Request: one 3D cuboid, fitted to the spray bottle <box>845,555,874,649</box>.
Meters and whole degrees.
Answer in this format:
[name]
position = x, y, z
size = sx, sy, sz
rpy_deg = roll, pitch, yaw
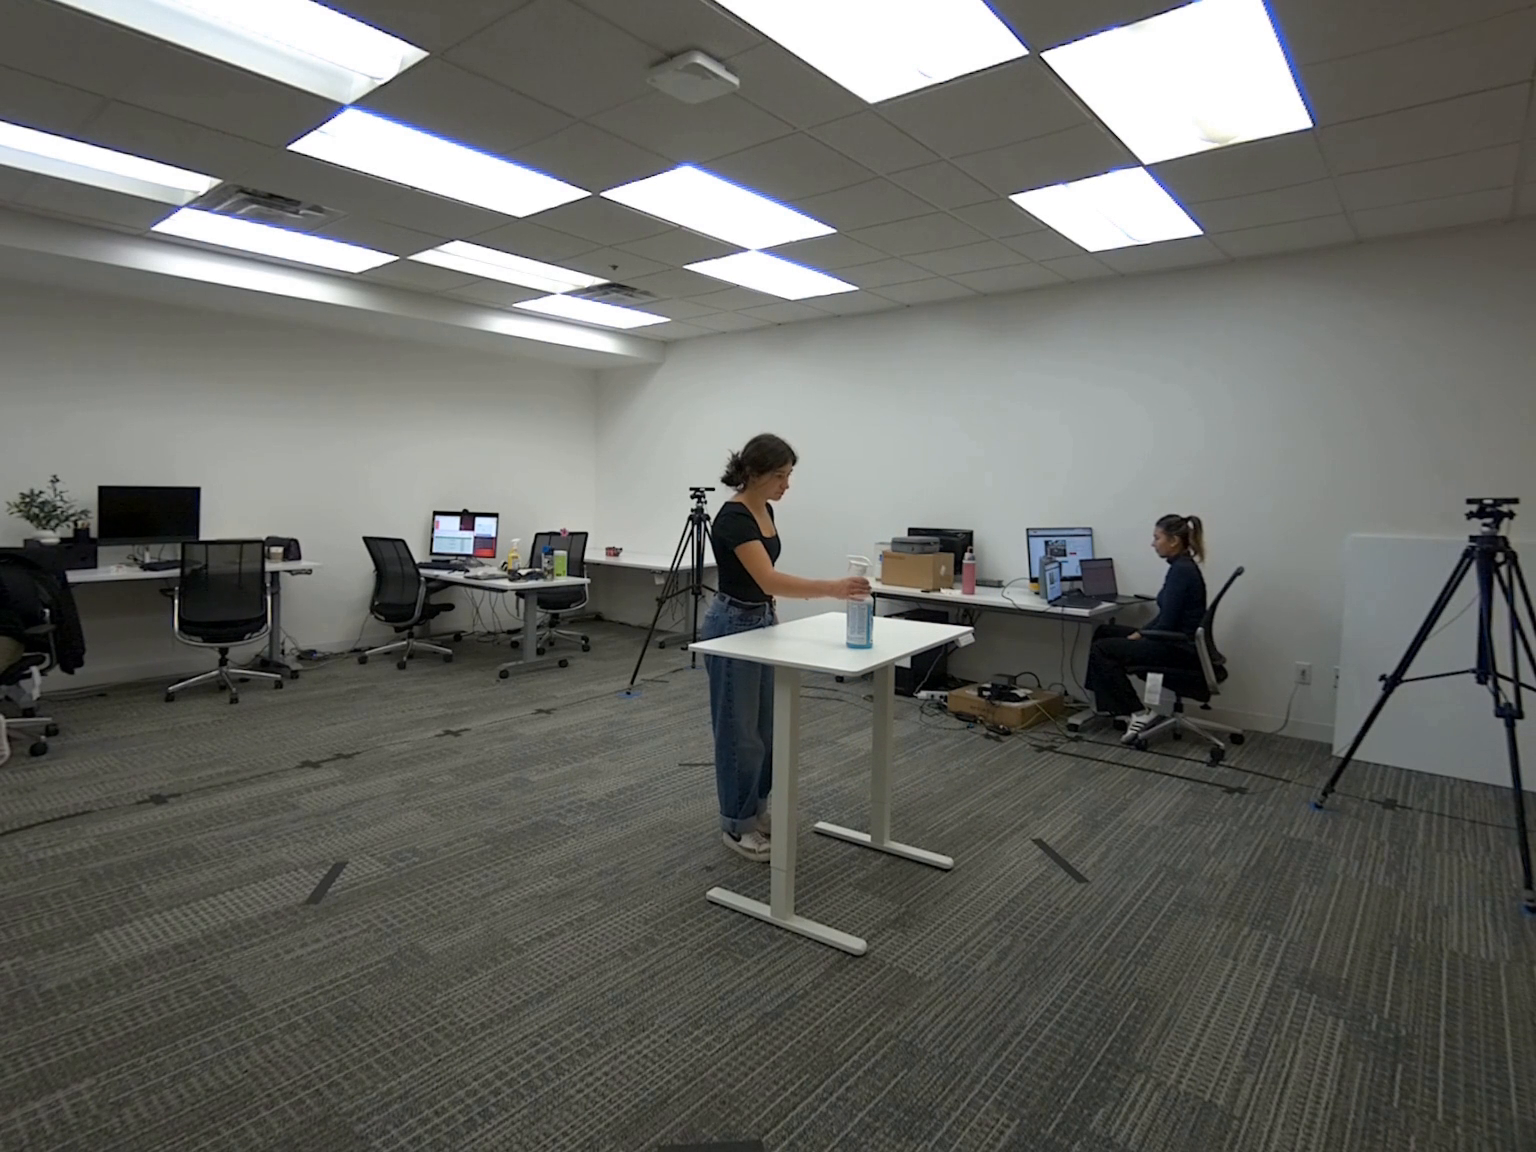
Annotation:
[spray bottle]
position = 0.297, 0.081, 2.768
size = 0.084, 0.297, 0.093
rpy_deg = 0, 1, -33
